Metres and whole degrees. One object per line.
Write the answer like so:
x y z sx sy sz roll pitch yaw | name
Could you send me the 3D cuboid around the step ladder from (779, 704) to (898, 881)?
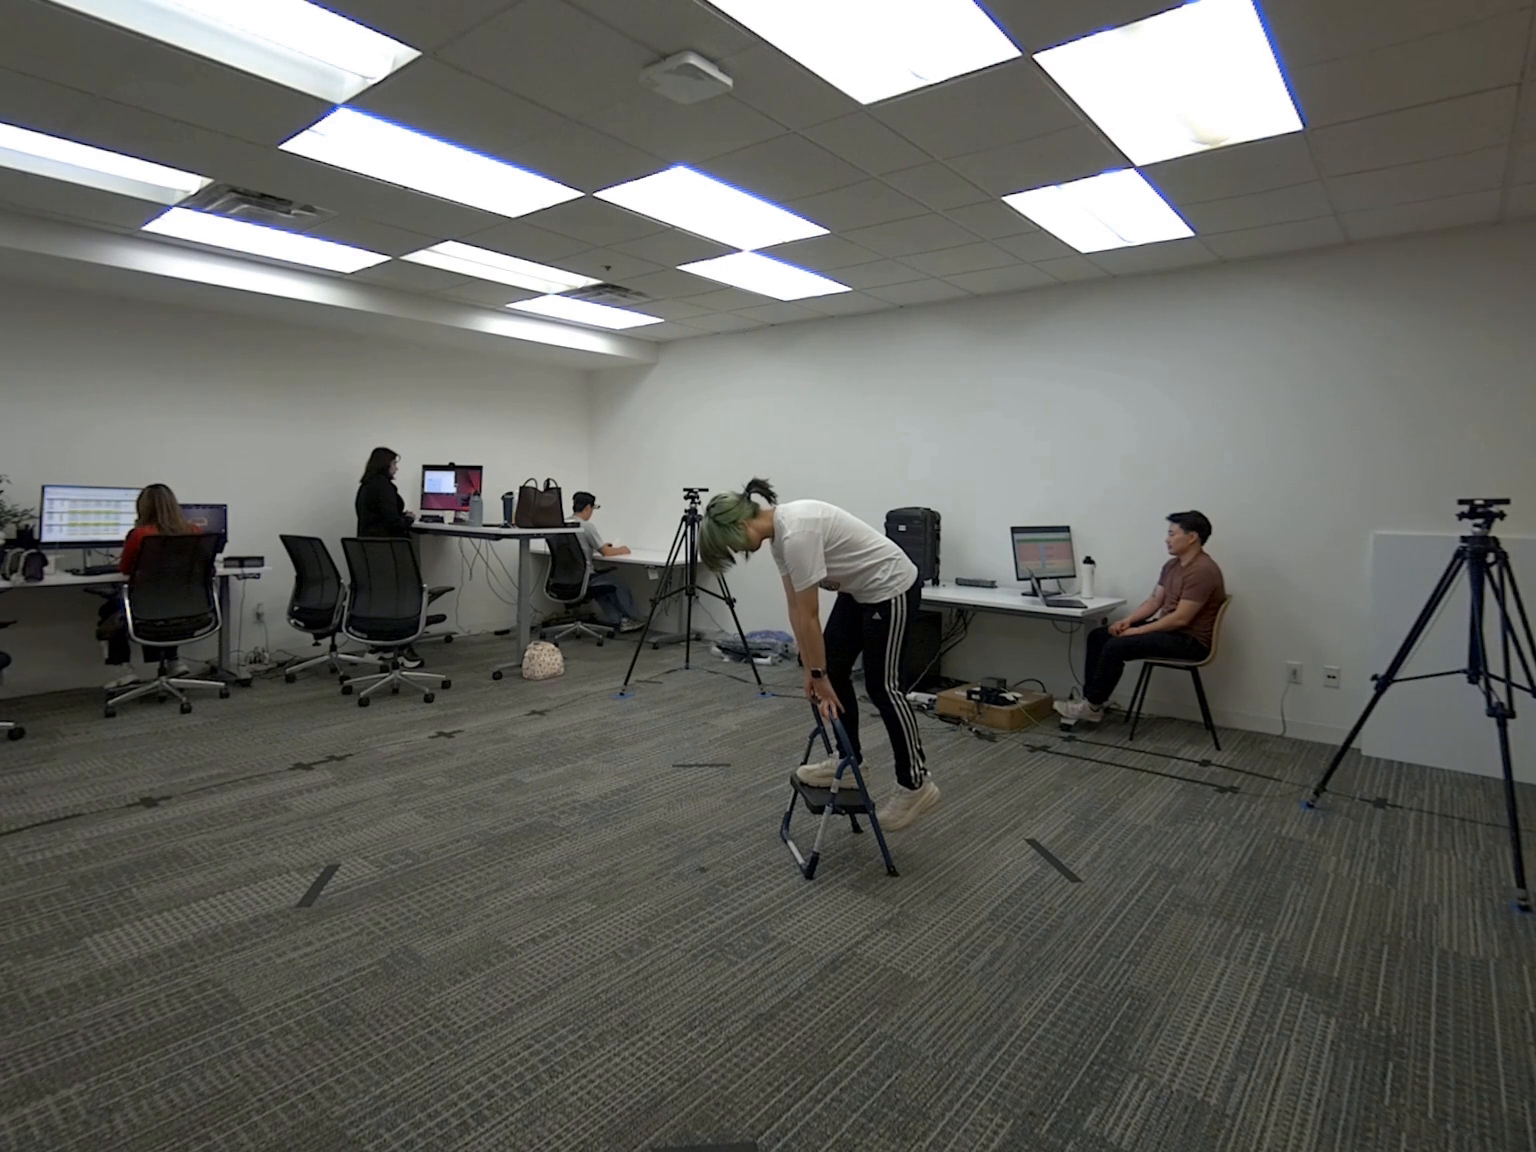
0.261 0.768 3.254 0.345 0.604 0.437 1 4 -12 | step ladder
